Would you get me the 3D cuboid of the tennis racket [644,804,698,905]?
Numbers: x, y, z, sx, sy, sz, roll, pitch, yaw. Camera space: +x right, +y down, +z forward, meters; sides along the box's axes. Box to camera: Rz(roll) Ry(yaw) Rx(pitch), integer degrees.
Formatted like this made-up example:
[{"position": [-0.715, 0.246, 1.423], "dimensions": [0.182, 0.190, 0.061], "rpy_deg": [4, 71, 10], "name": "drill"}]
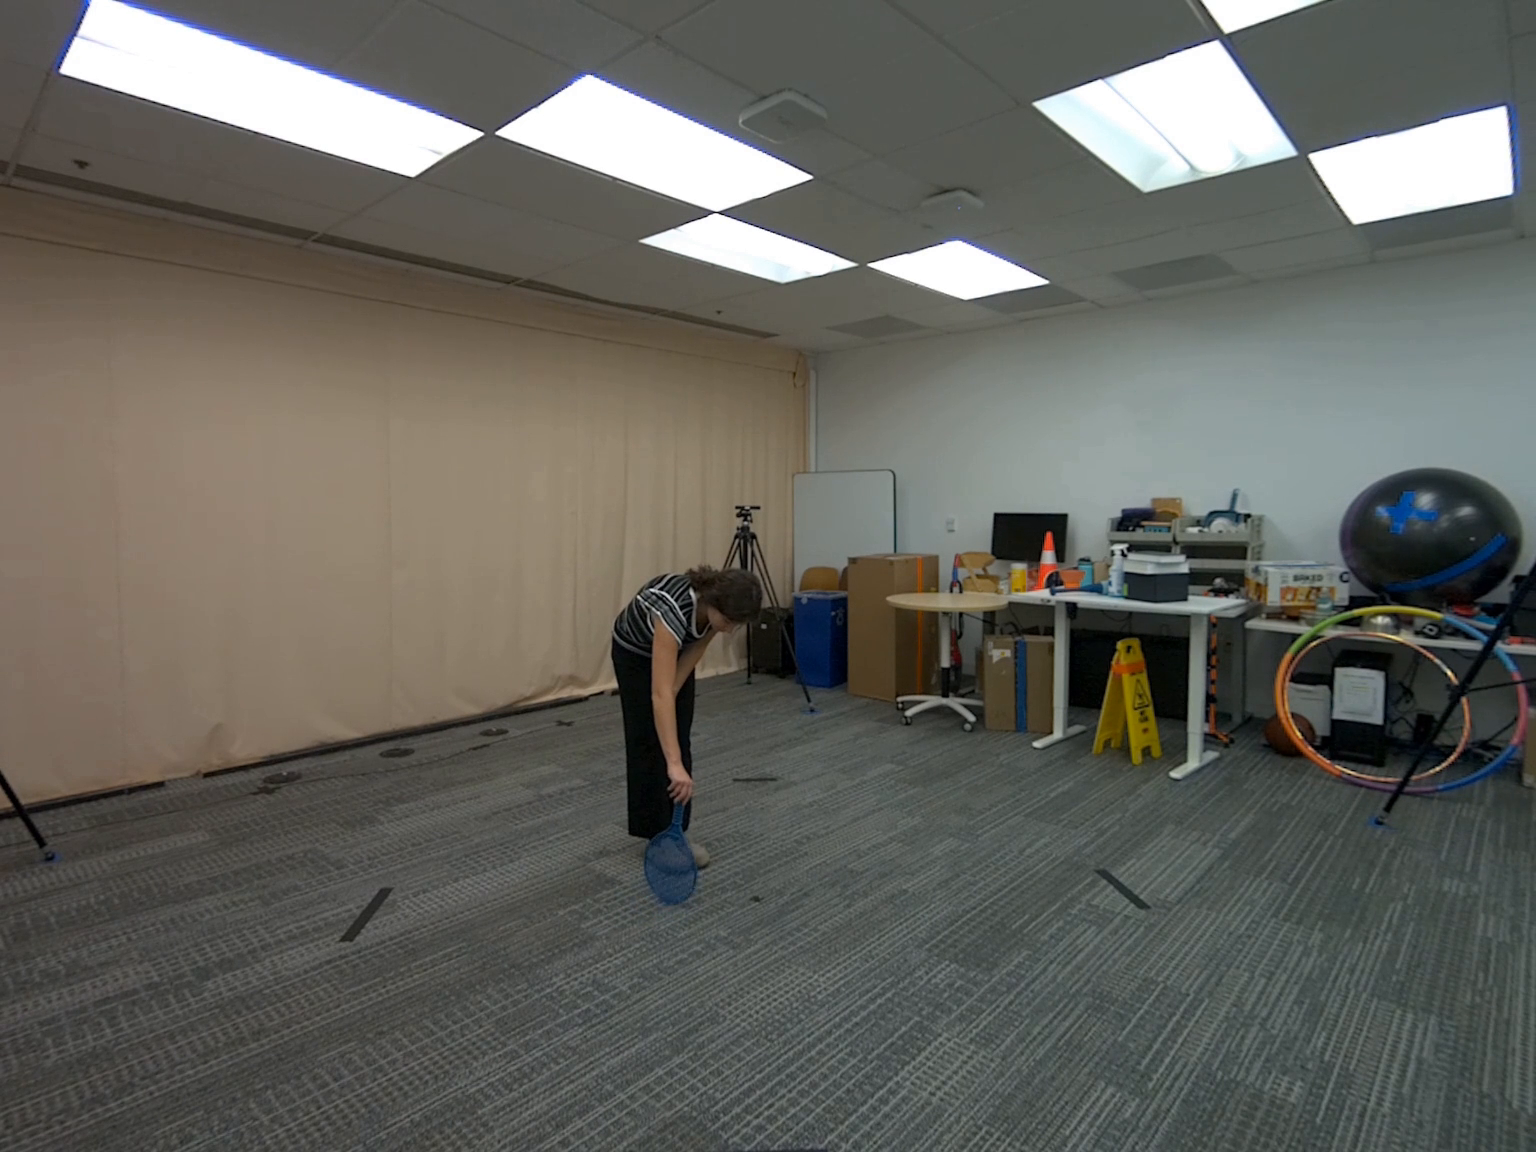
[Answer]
[{"position": [-0.325, 0.938, 2.920], "dimensions": [0.219, 0.430, 0.031], "rpy_deg": [13, 12, 25], "name": "tennis racket"}]
